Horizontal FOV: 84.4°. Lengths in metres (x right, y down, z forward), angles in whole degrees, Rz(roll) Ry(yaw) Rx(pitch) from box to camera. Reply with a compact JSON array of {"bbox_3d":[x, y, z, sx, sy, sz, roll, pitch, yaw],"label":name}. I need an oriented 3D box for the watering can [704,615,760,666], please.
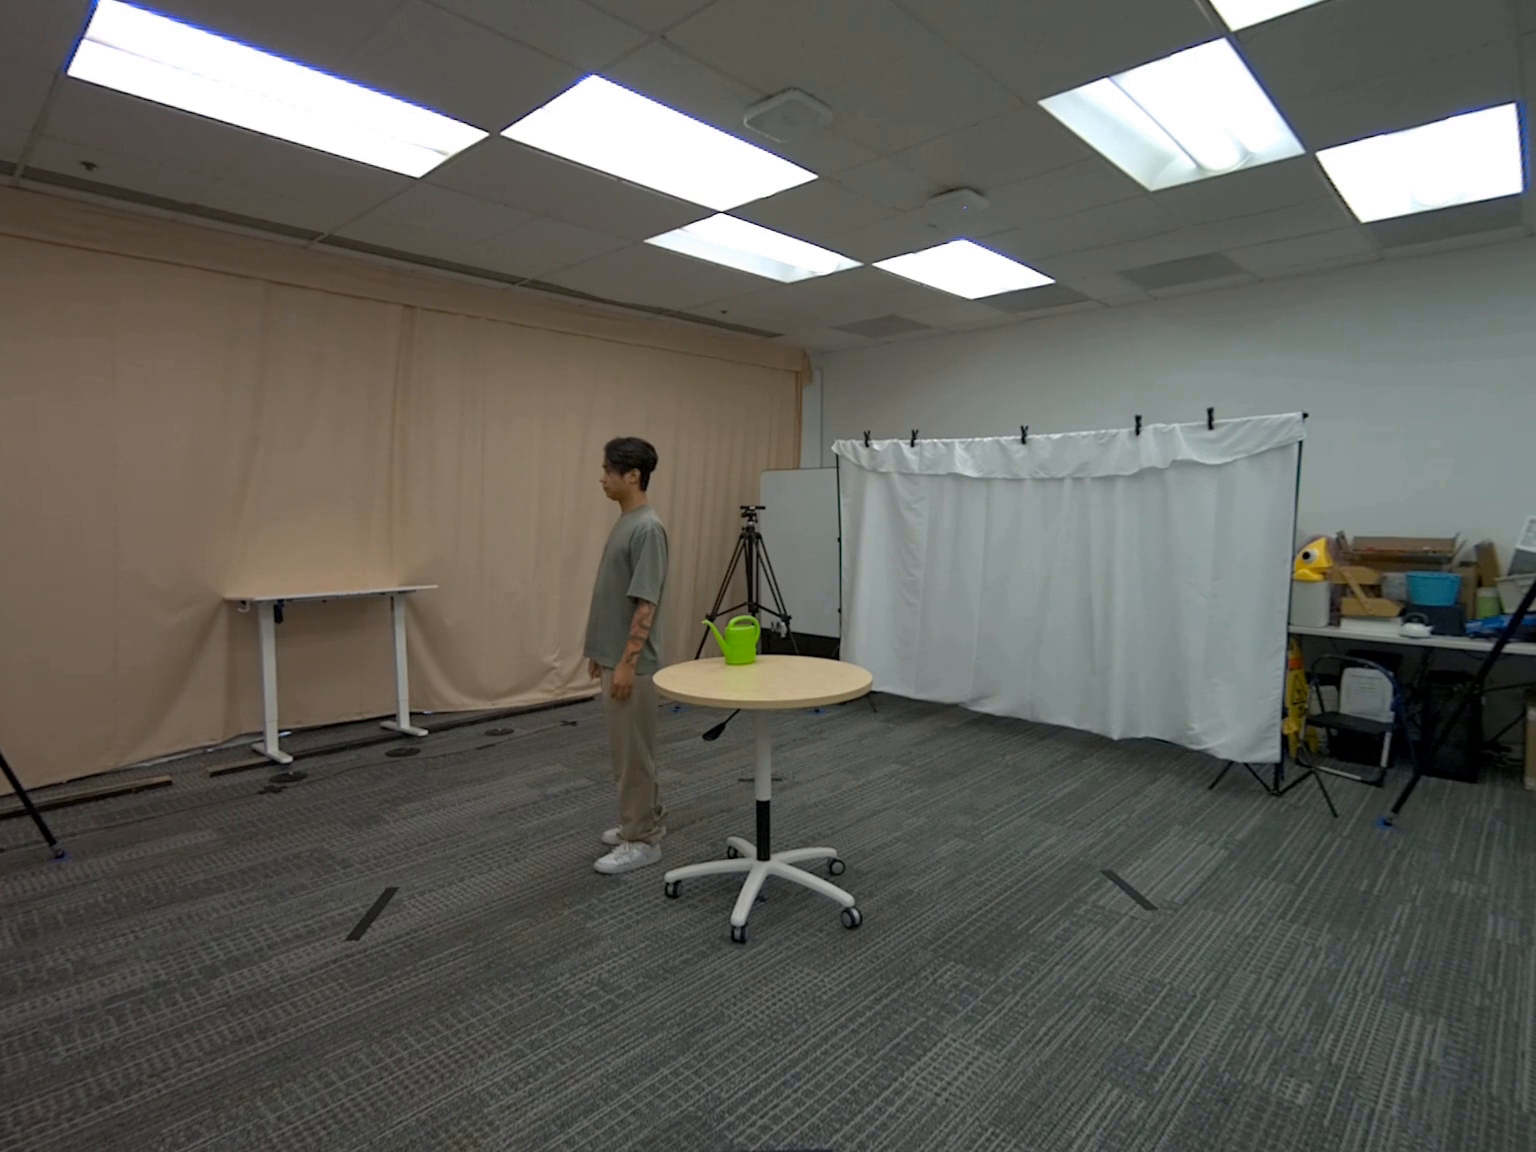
[{"bbox_3d":[-0.138,0.242,3.160,0.271,0.176,0.101,-1,5,-27],"label":"watering can"}]
